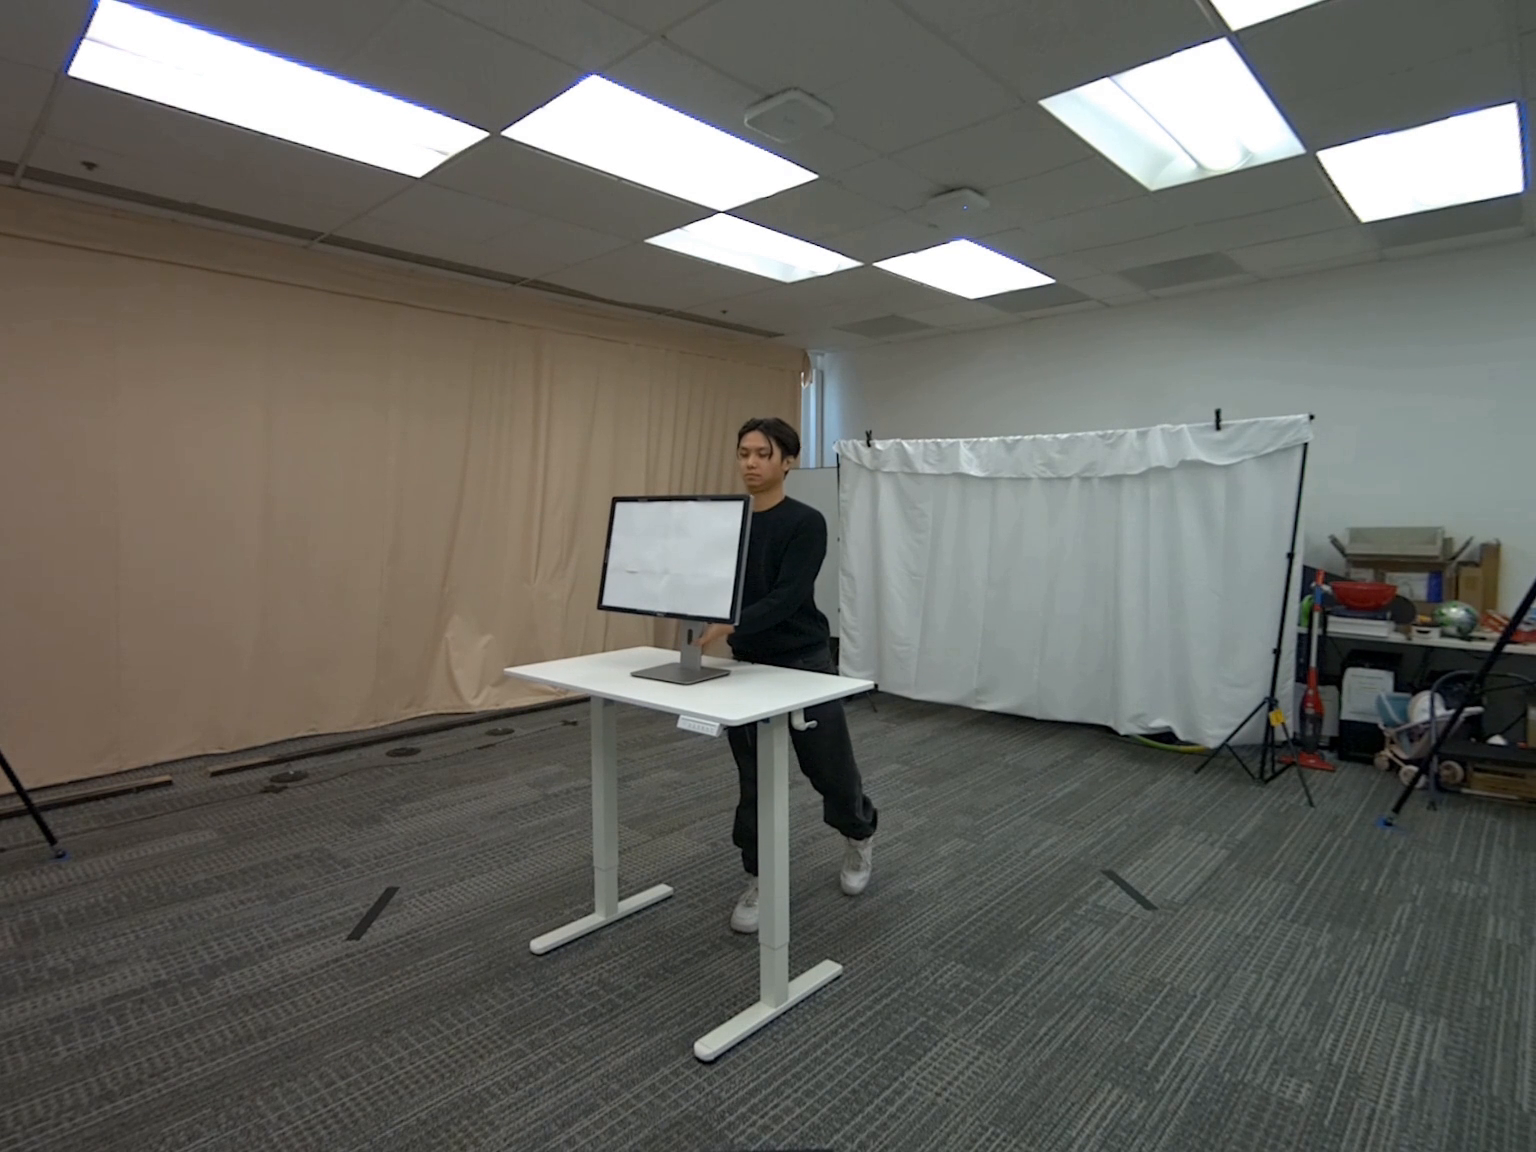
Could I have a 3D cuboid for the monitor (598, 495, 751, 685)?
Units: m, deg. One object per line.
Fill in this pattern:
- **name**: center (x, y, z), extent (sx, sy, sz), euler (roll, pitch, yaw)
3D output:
- **monitor**: center (-0.262, 0.032, 2.527), extent (0.556, 0.521, 0.182), euler (3, 5, 37)
